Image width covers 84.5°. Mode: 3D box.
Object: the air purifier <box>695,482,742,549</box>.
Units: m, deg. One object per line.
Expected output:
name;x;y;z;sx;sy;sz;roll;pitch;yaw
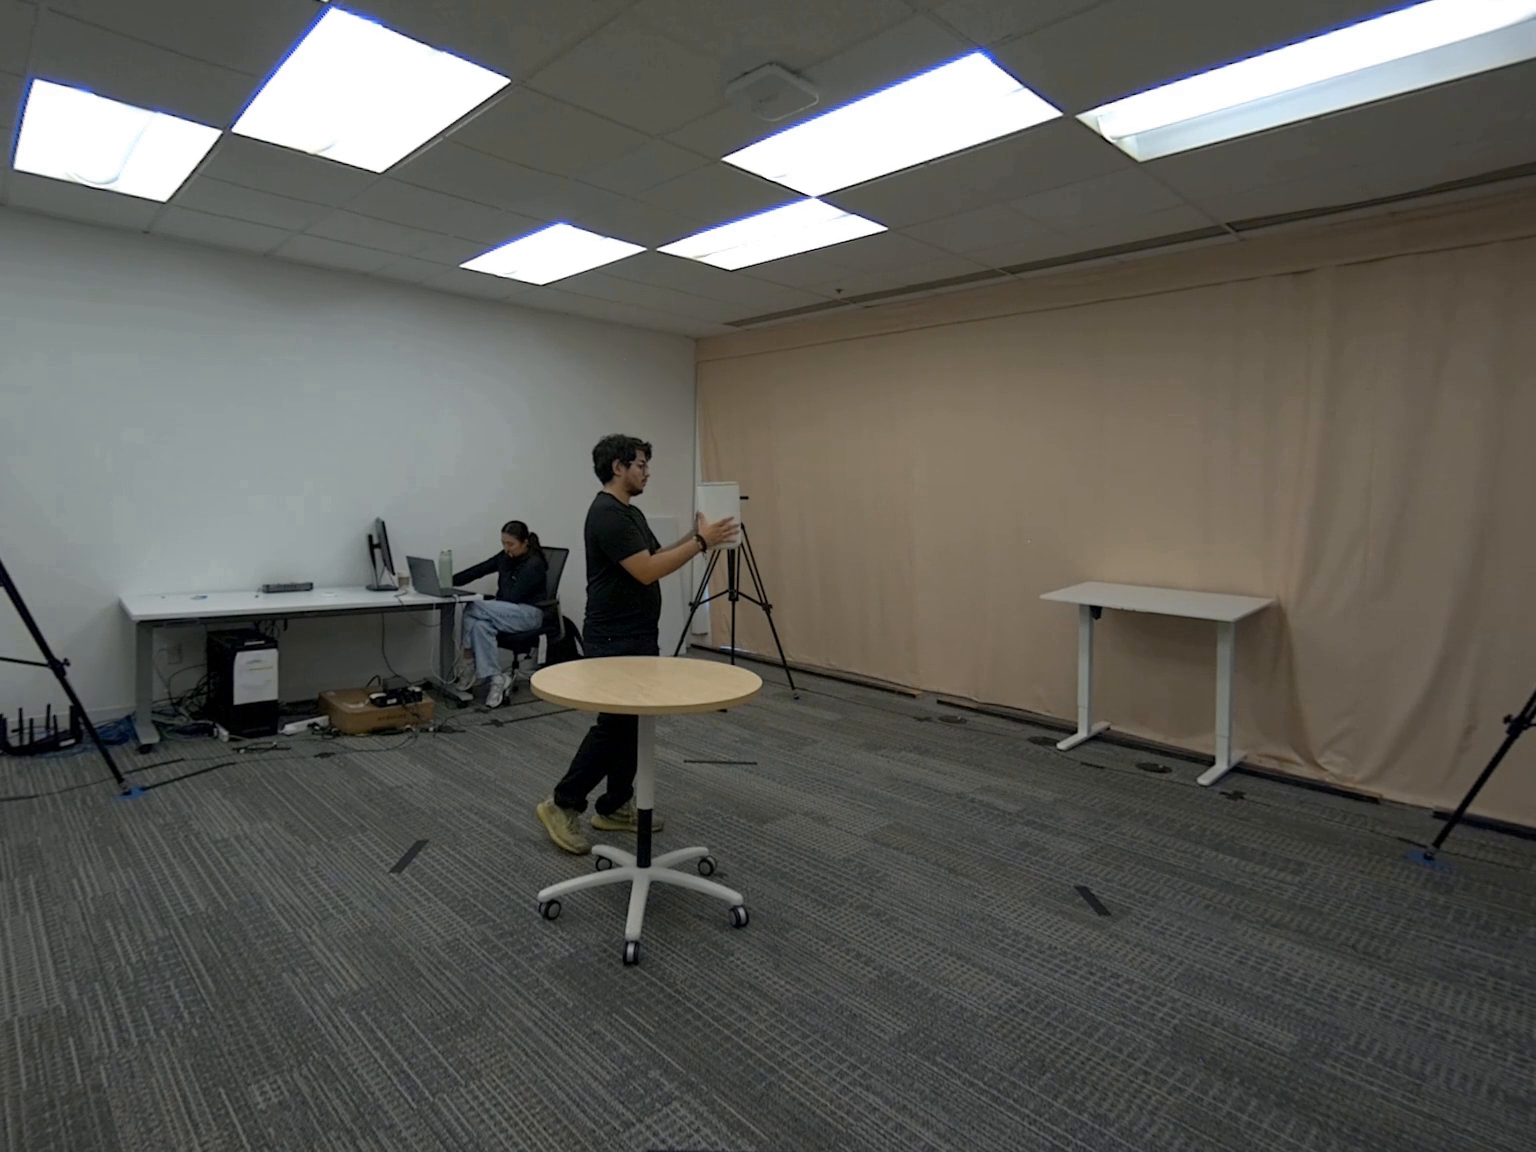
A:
air purifier;-0.209;-0.249;3.425;0.171;0.264;0.172;-2;5;3
